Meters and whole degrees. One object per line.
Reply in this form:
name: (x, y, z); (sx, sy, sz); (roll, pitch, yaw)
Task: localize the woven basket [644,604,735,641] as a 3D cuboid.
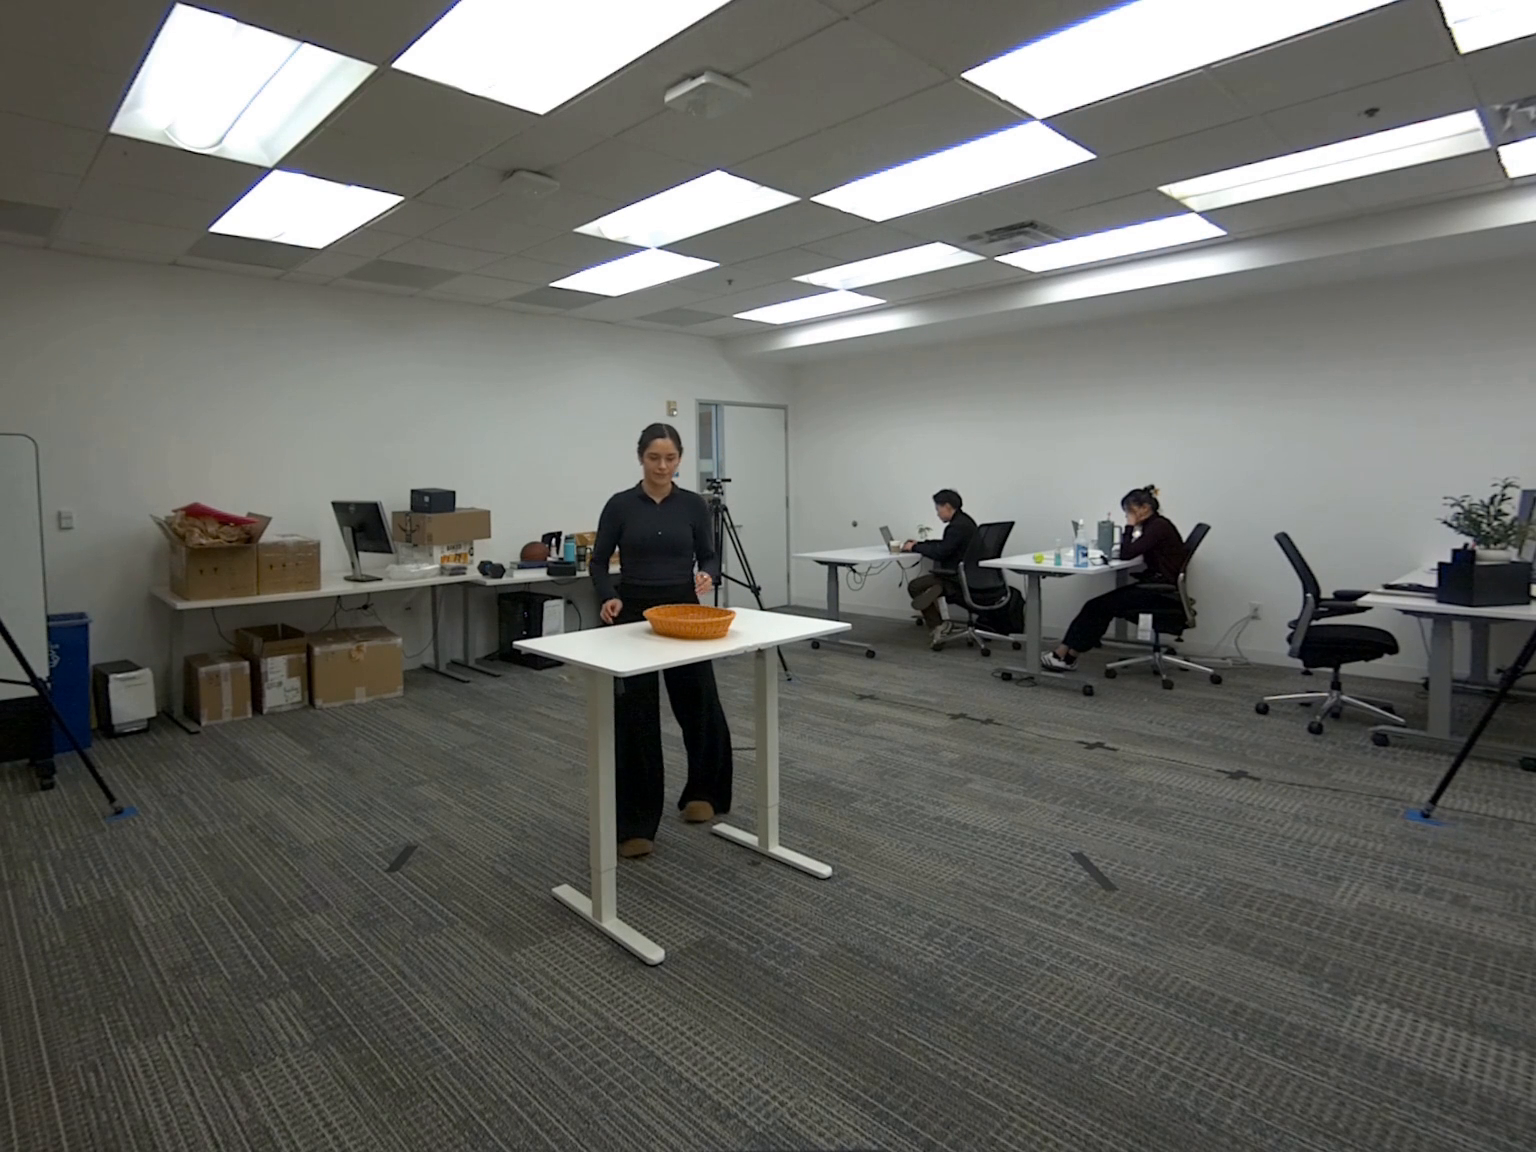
woven basket: (-0.267, 0.163, 2.871); (0.246, 0.073, 0.361); (-7, 9, -41)
